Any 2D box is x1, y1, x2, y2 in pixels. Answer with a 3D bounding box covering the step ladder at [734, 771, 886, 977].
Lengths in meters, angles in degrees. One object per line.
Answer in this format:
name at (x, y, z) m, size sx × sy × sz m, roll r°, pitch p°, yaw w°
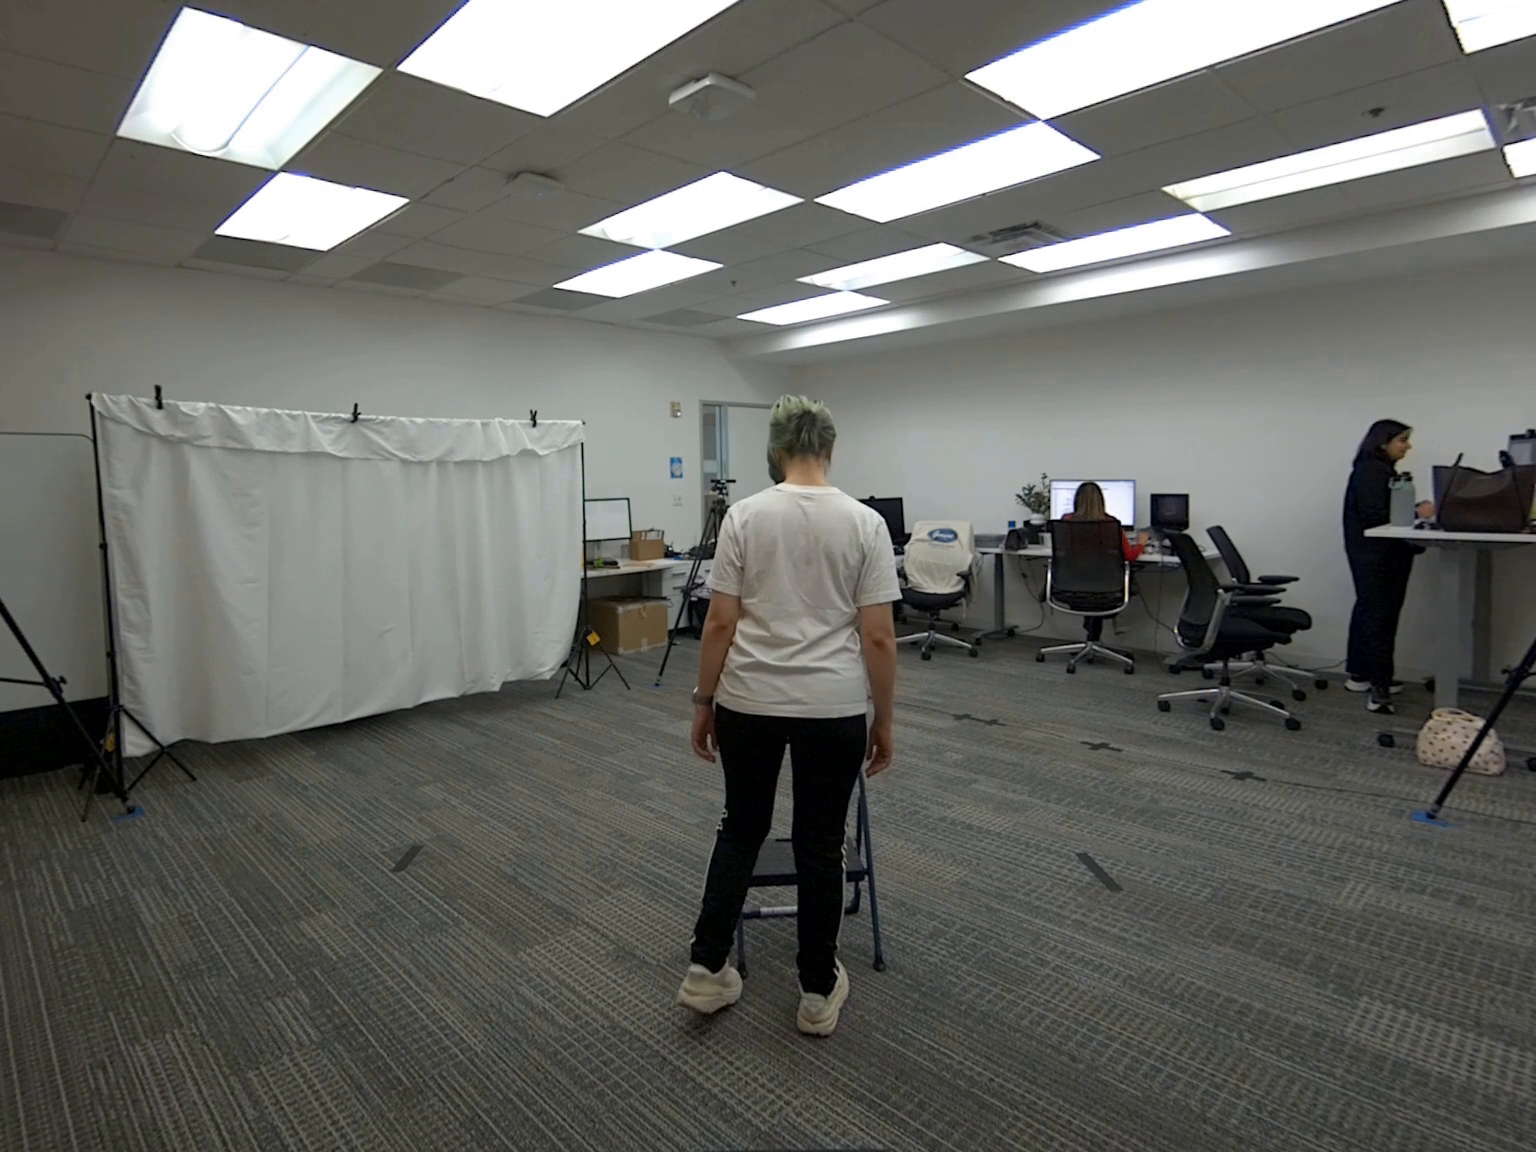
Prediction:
step ladder at (0.107, 0.813, 2.567) m, size 0.429 × 0.605 × 0.351 m, roll -2°, pitch 2°, yaw -4°
